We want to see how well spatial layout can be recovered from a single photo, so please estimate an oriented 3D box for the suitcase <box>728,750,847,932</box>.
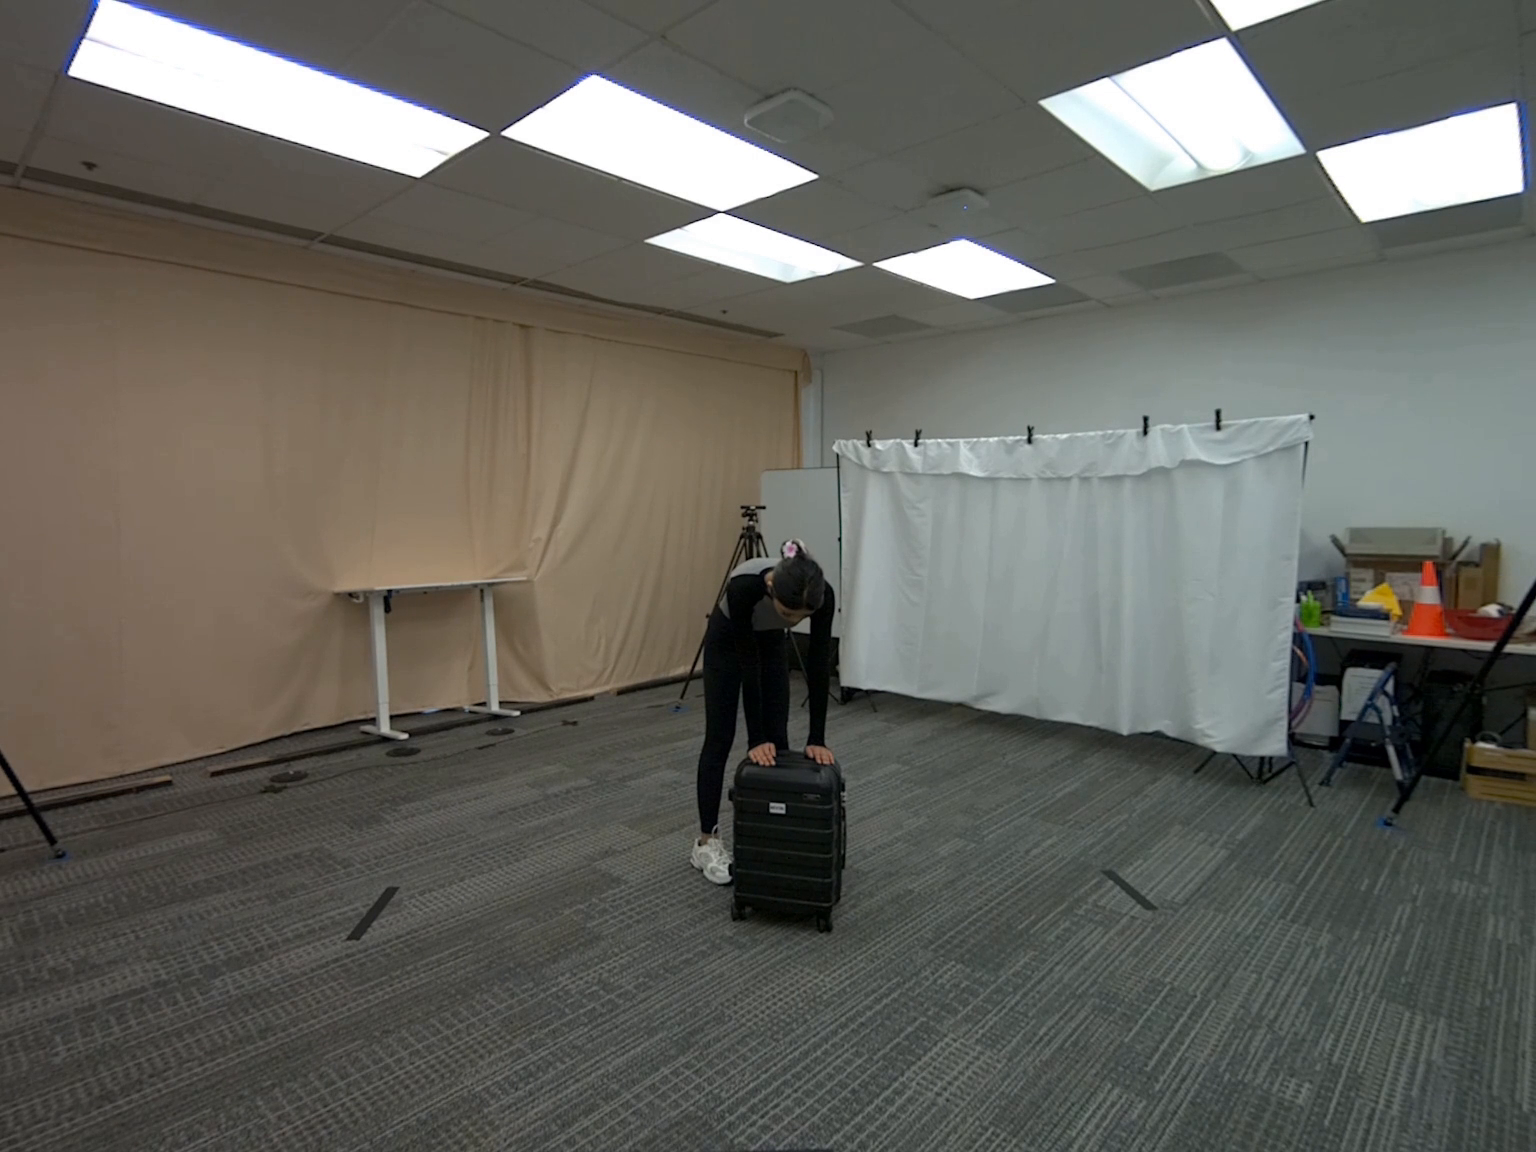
[{"bbox_3d":[0.073,0.878,2.866,0.382,0.548,0.245,1,5,16],"label":"suitcase"}]
